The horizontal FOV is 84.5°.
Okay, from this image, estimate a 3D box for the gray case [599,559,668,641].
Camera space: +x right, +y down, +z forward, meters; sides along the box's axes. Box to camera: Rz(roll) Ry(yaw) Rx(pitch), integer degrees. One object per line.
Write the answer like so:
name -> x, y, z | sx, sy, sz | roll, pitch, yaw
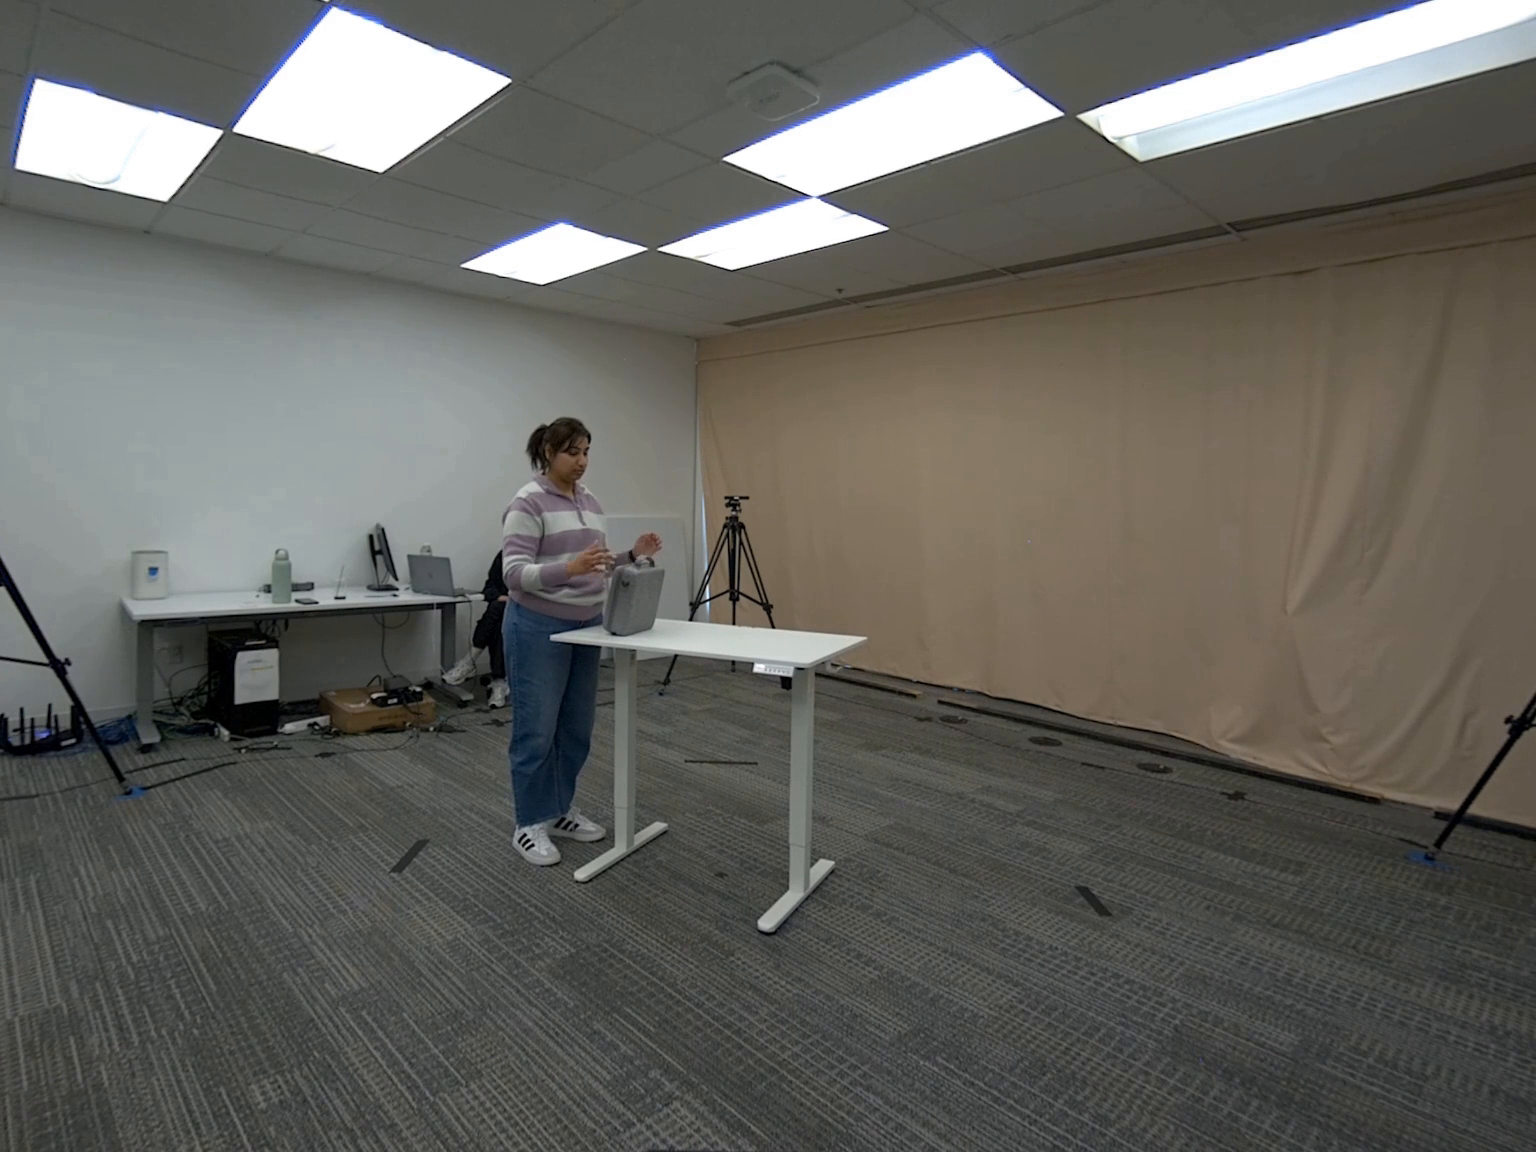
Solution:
gray case -> -0.499, 0.081, 3.140 | 0.106, 0.259, 0.254 | 14, 7, 15
